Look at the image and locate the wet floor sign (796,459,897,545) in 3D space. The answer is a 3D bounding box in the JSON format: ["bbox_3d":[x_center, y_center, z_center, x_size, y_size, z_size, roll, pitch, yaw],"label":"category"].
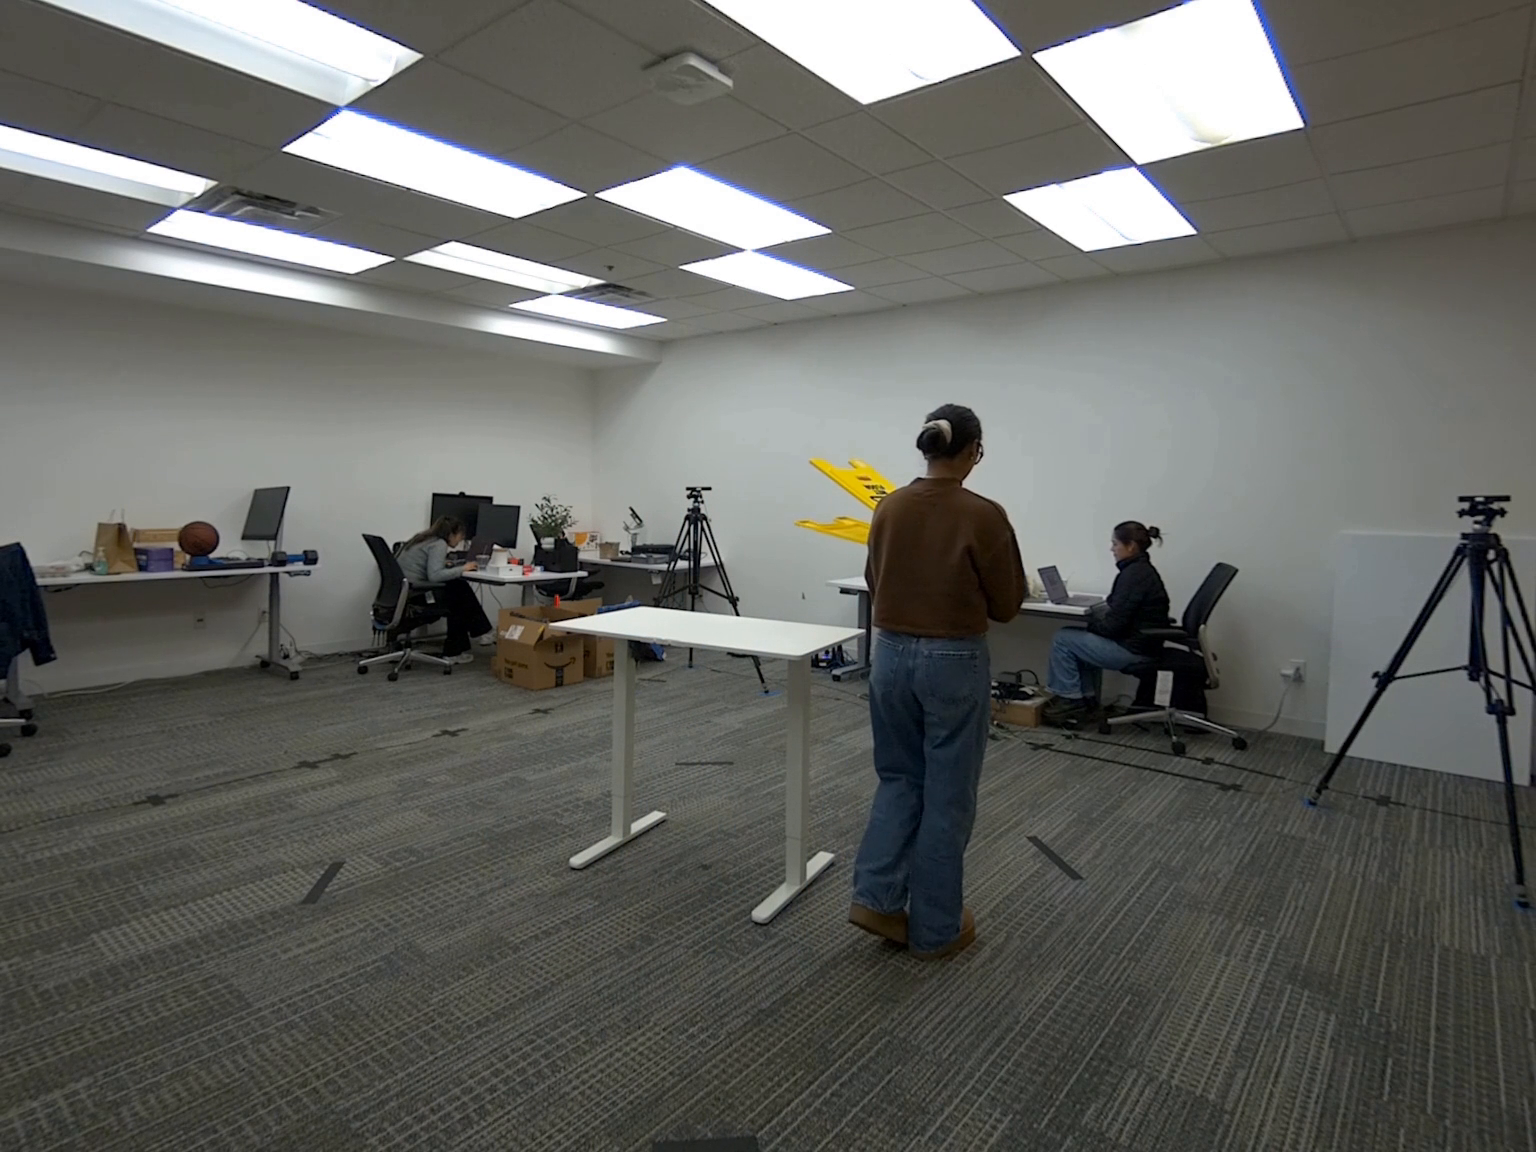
[{"bbox_3d":[0.425,-0.185,2.966,0.274,0.286,0.674,-5,26,-40],"label":"wet floor sign"}]
